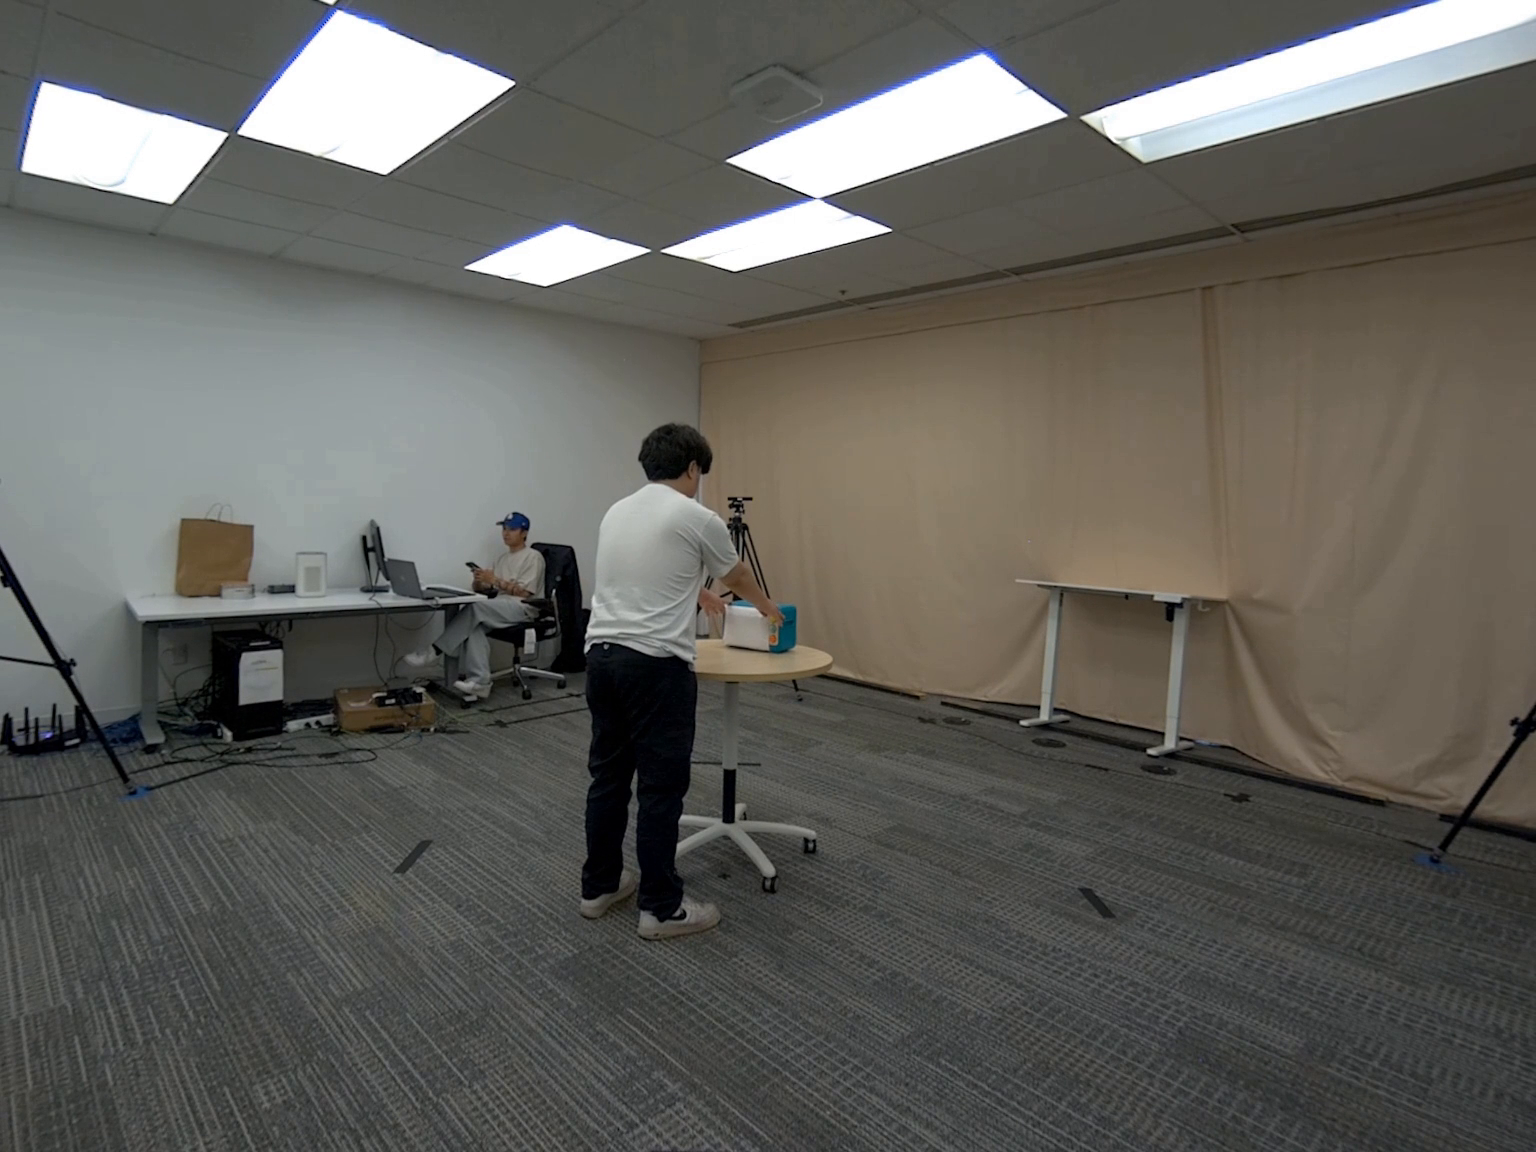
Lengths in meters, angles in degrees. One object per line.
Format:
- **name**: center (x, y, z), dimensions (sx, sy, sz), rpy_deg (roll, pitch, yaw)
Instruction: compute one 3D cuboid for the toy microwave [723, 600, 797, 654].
- **toy microwave**: center (-0.048, 0.202, 3.385), dimensions (0.293, 0.184, 0.149), rpy_deg (4, 4, 33)
